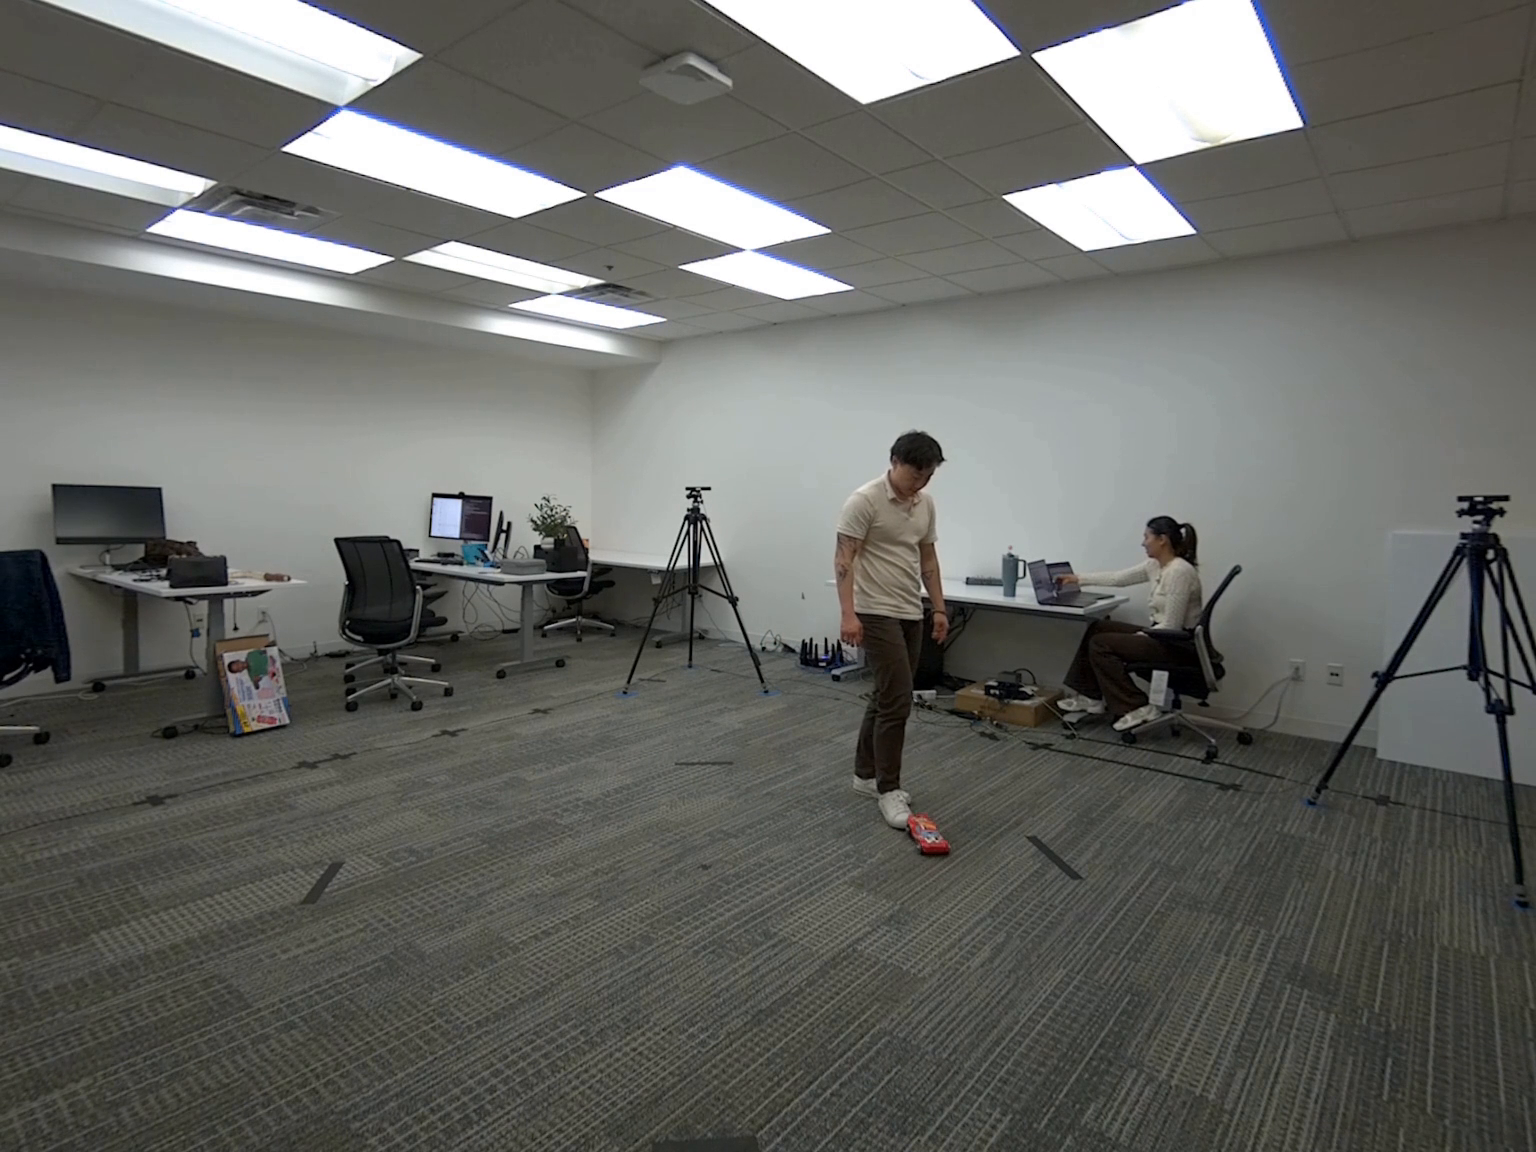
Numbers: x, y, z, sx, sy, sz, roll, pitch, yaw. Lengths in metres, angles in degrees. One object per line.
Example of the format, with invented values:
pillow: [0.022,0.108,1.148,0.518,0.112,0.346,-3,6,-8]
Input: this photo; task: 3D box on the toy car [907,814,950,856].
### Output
toy car: [0.623,1.021,3.377,0.129,0.082,0.261,0,19,-9]
